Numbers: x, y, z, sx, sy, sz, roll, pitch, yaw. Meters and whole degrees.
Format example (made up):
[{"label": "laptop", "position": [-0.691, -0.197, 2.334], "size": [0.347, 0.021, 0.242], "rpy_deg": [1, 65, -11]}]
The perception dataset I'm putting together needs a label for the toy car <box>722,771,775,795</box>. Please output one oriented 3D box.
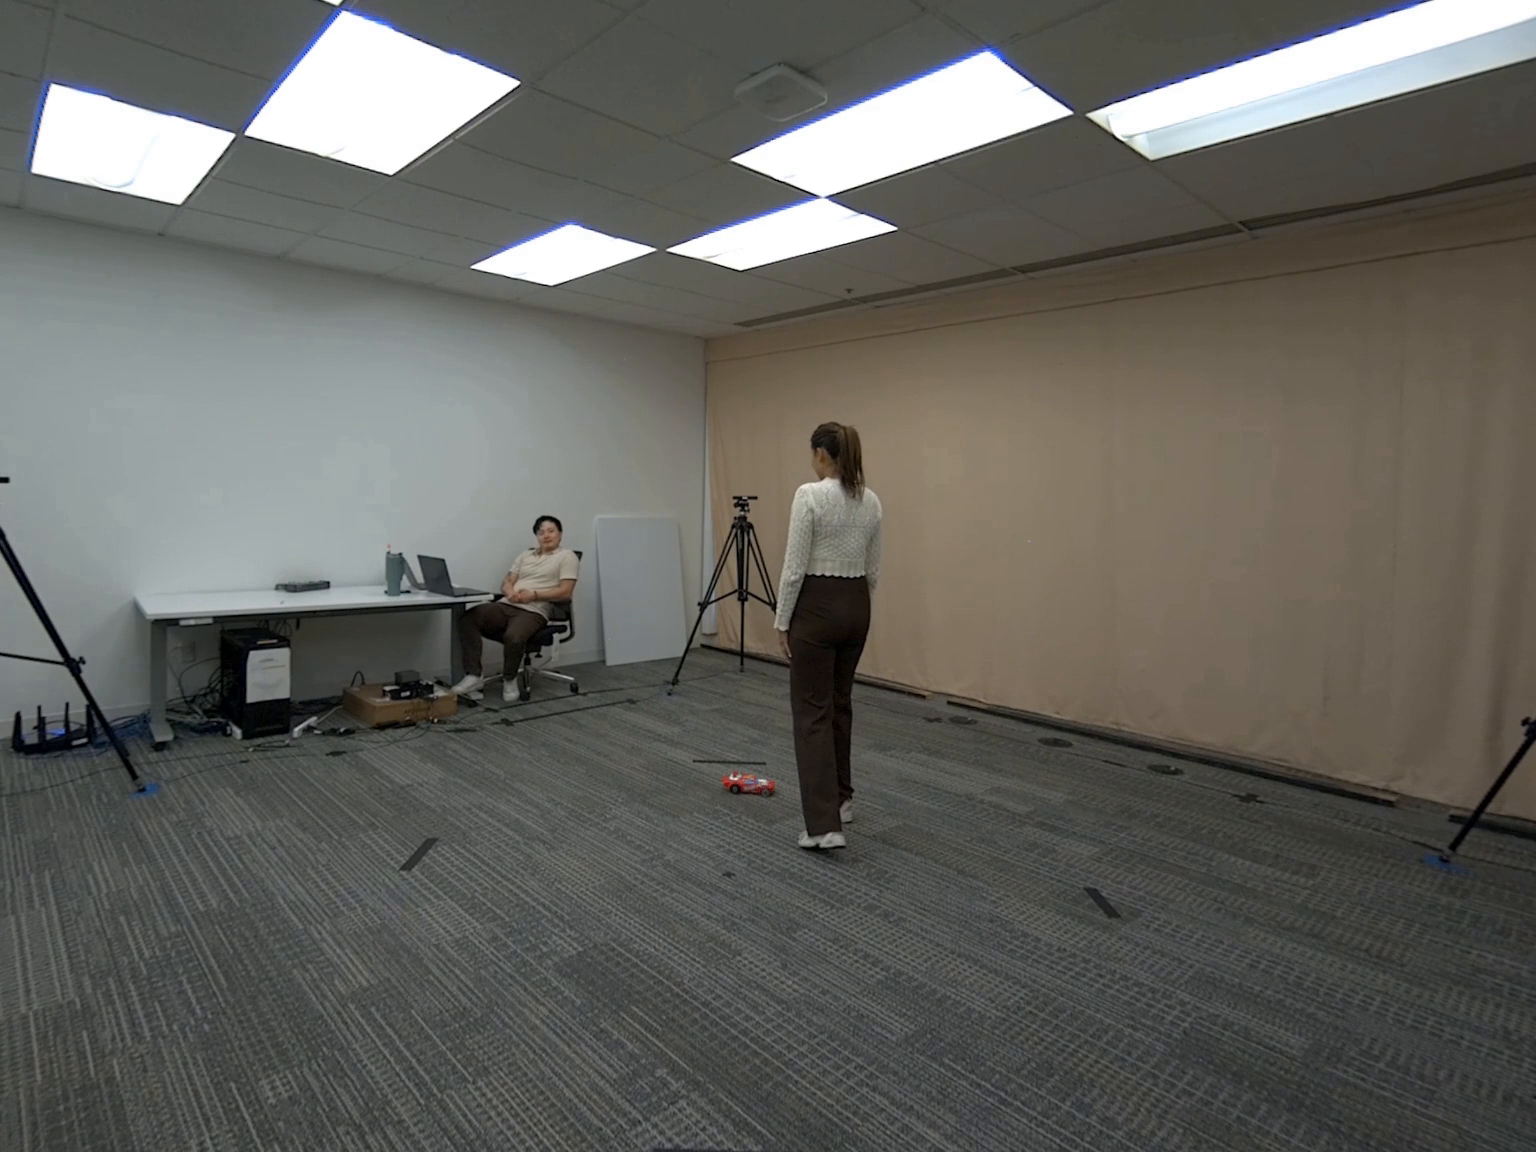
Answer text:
[{"label": "toy car", "position": [-0.113, 0.993, 4.015], "size": [0.257, 0.083, 0.130], "rpy_deg": [14, 7, 8]}]
